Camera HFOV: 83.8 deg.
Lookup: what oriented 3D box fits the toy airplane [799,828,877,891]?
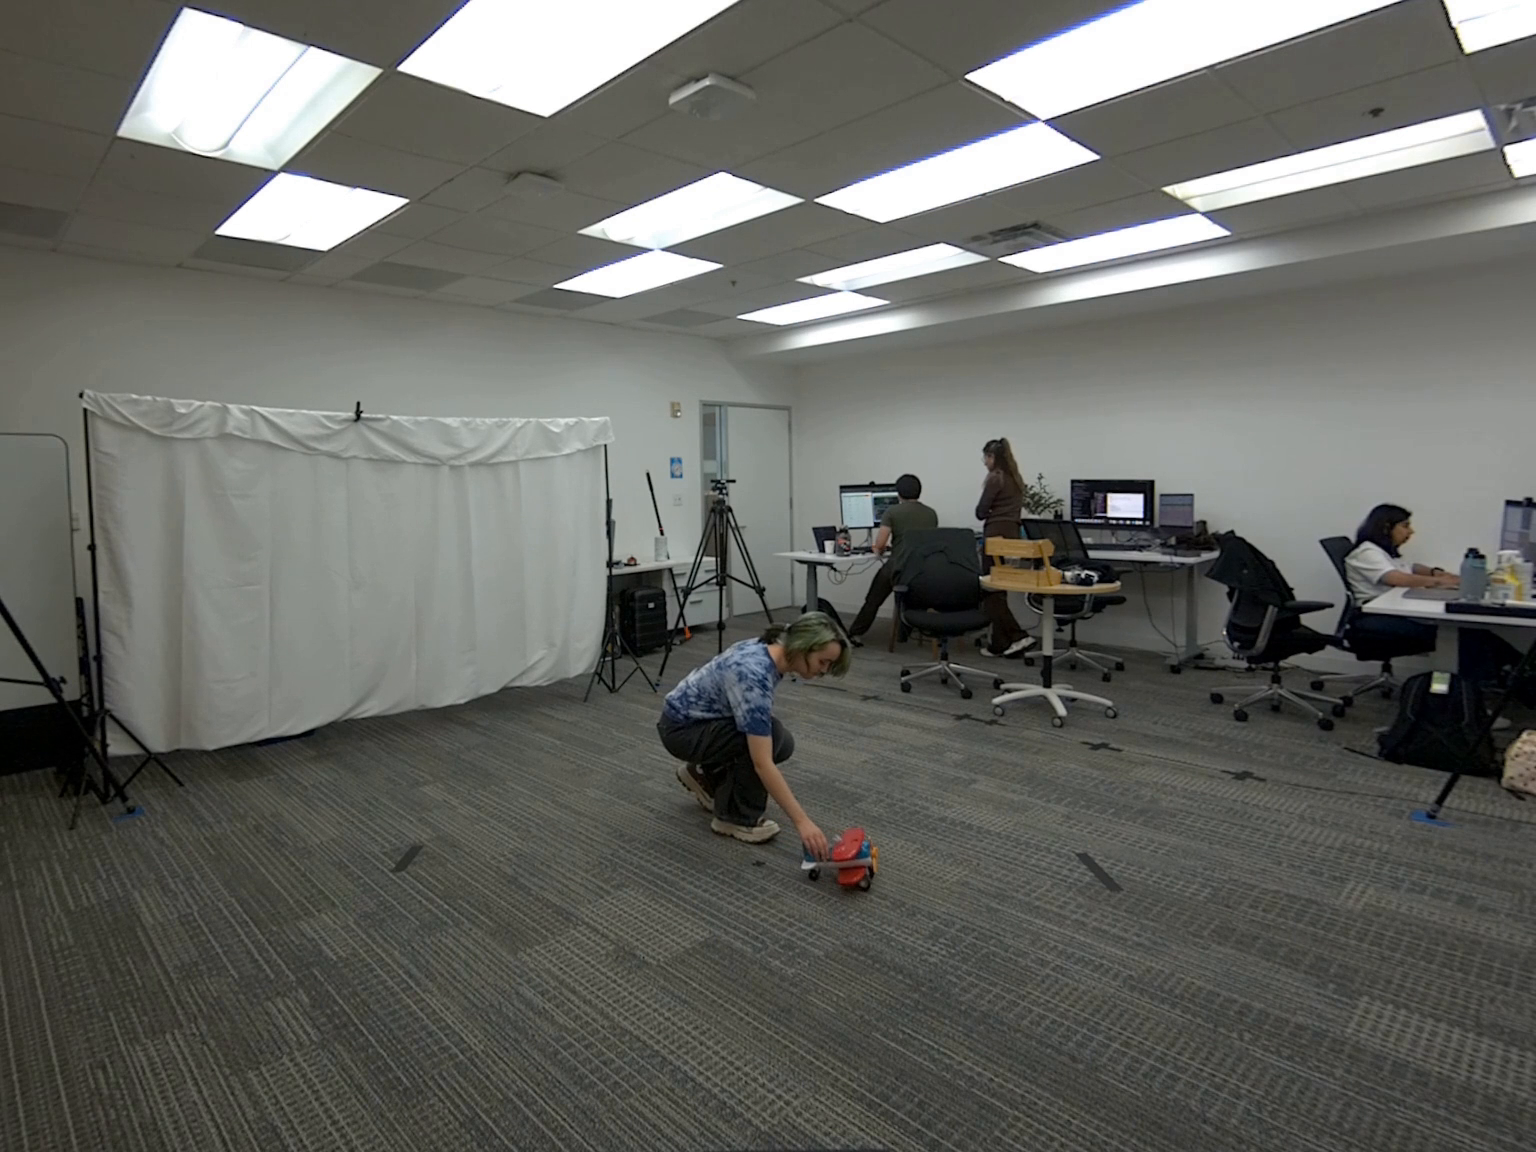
[{"bbox_3d":[0.252,0.985,2.937,0.256,0.156,0.255,-2,6,-11],"label":"toy airplane"}]
